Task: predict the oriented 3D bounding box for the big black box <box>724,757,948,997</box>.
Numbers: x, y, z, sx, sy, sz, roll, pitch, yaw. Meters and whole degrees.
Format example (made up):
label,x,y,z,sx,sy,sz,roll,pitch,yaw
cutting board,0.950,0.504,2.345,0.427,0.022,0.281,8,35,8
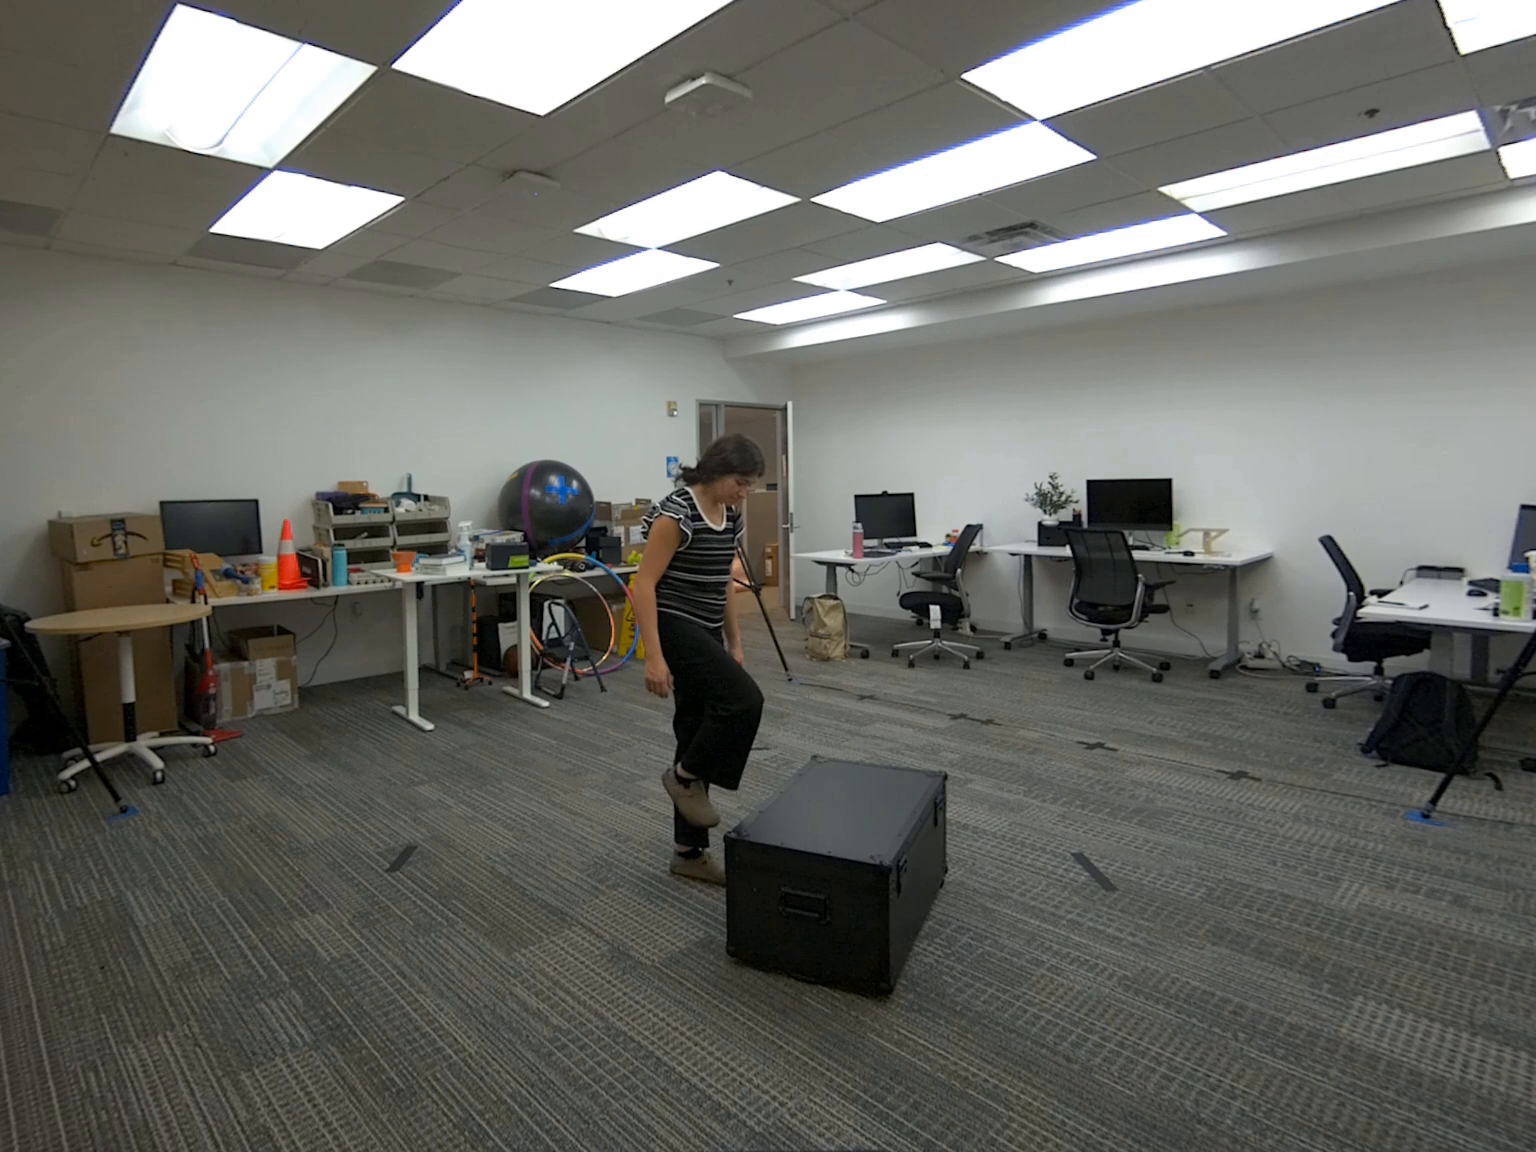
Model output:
label,x,y,z,sx,sy,sz,roll,pitch,yaw
big black box,0.264,0.891,2.731,0.533,0.394,0.847,0,6,23
